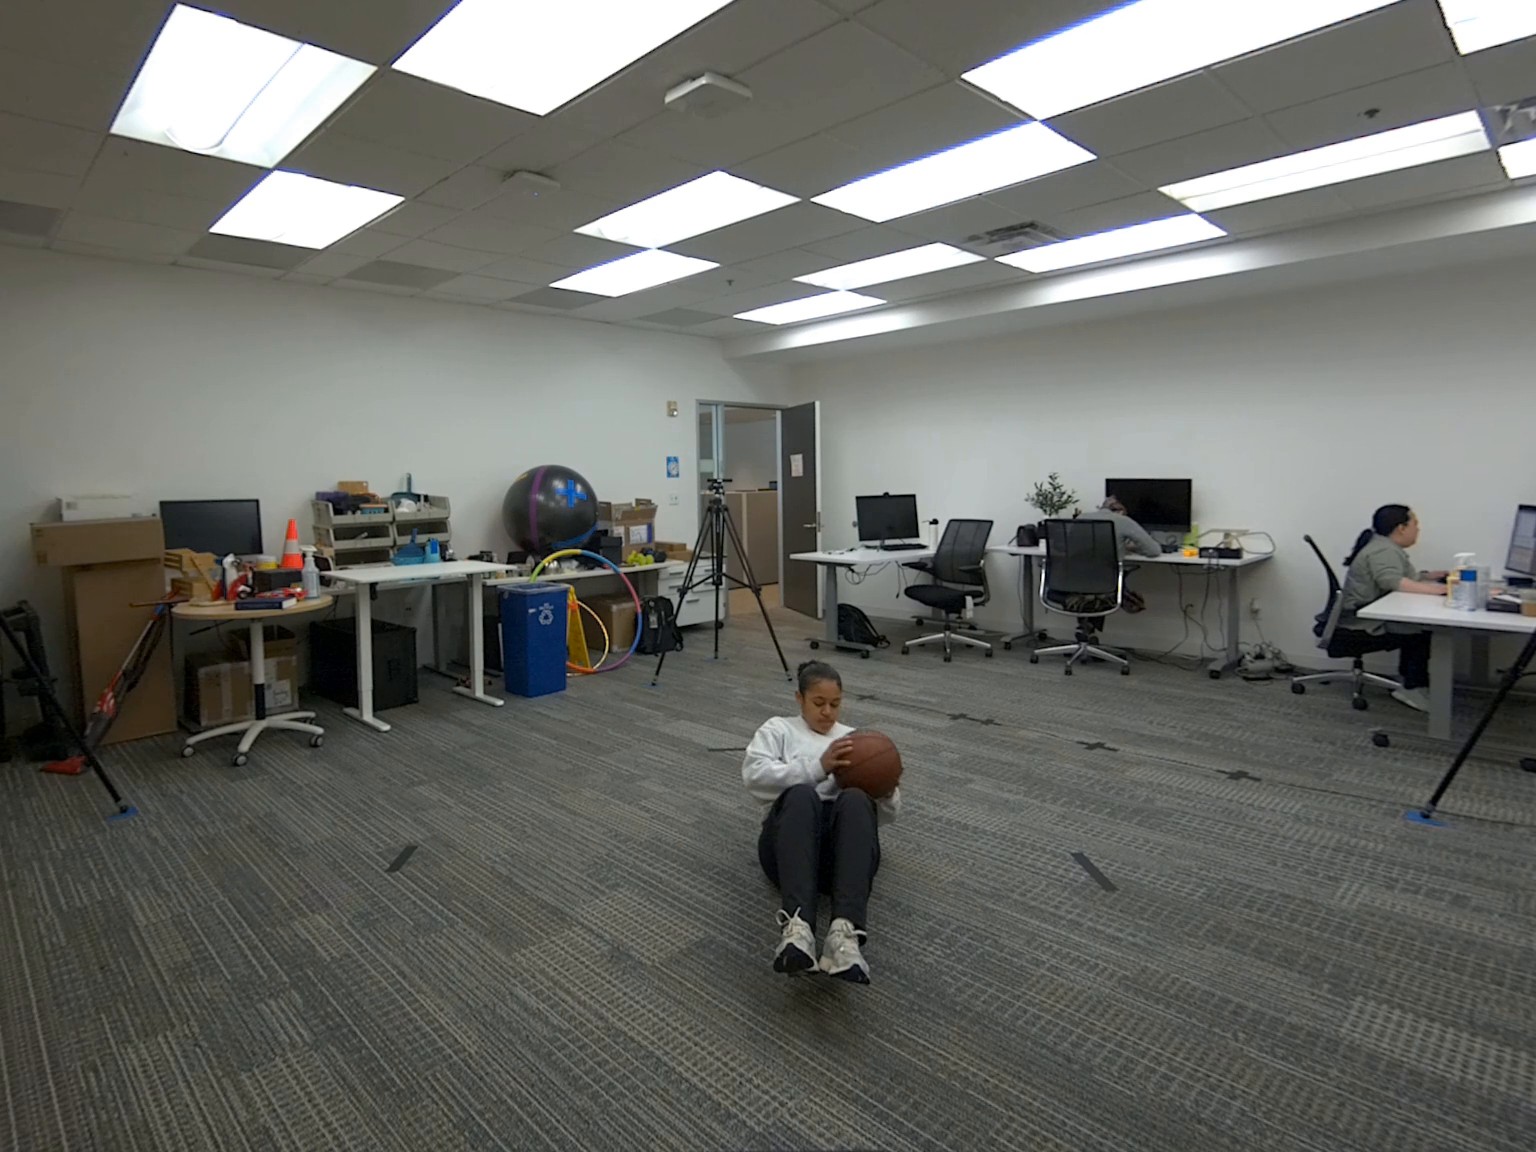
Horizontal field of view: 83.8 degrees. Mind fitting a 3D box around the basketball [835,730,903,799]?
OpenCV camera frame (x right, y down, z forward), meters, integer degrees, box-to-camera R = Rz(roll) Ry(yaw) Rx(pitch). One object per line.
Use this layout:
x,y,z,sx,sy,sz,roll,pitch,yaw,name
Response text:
0.327,0.656,2.943,0.236,0.235,0.237,-1,5,-2,basketball
